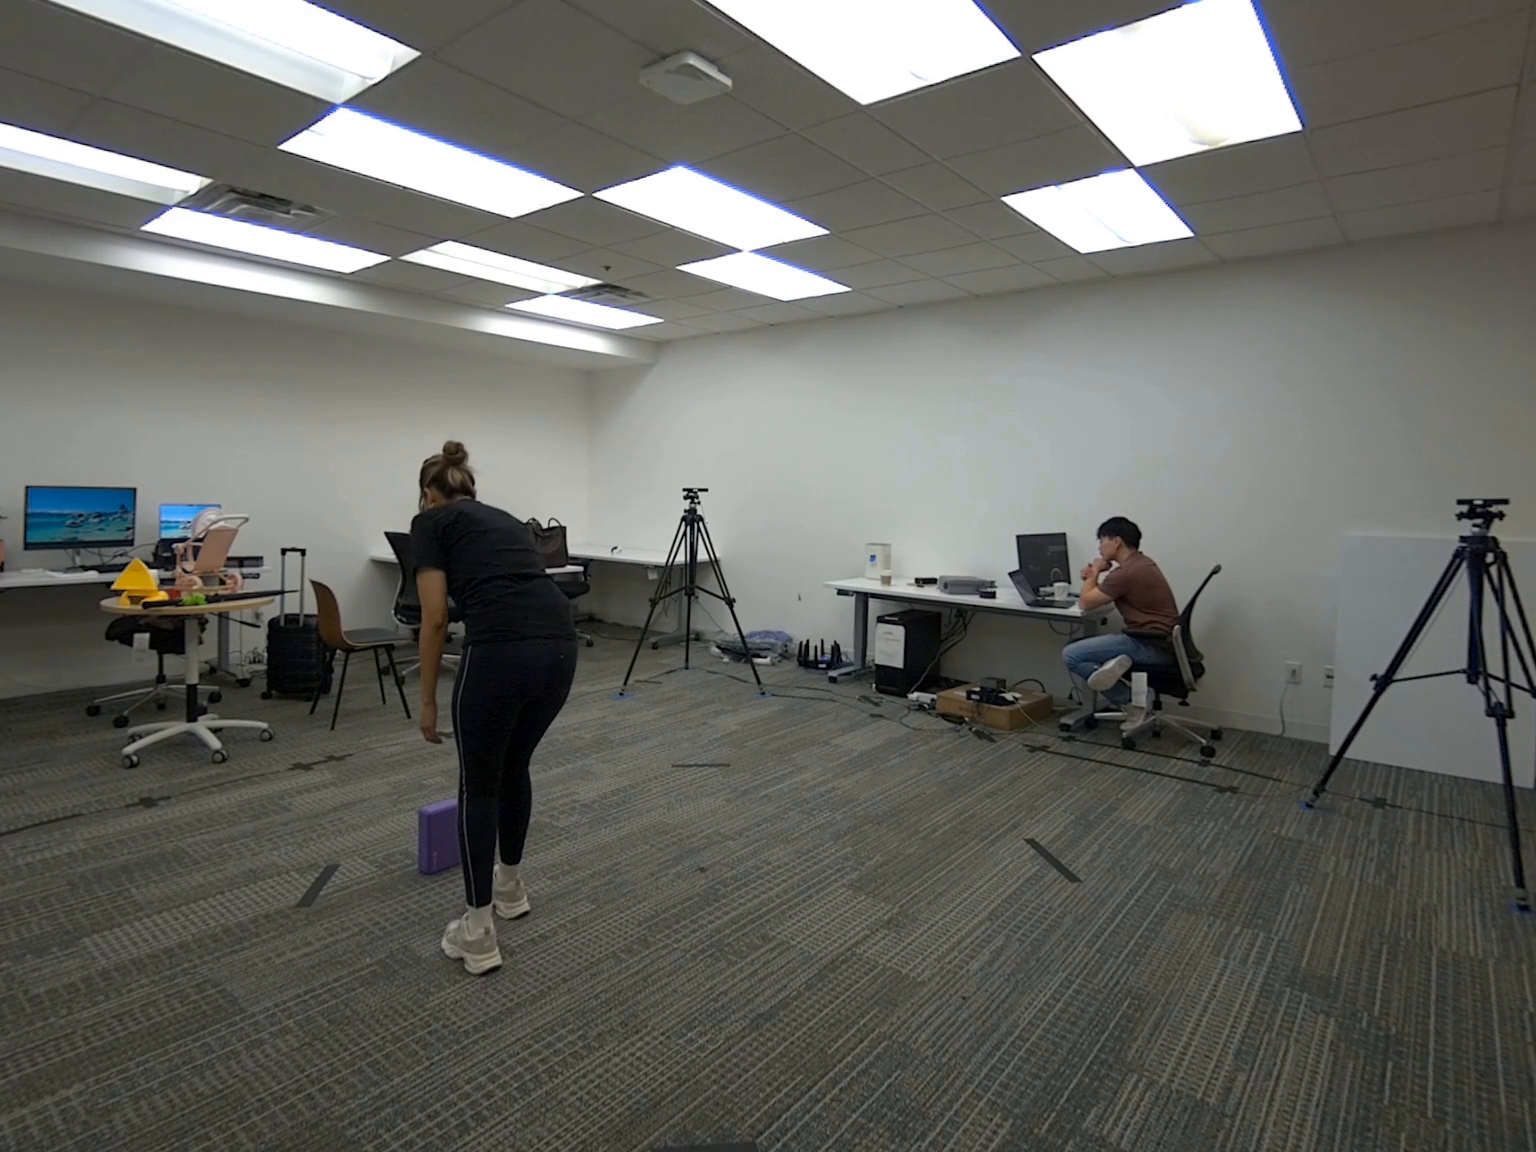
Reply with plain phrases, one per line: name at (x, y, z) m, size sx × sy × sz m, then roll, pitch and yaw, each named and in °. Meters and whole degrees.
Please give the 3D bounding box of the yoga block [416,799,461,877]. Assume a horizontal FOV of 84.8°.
yoga block at (-1.202, 0.942, 3.083) m, size 0.079 × 0.229 × 0.144 m, roll 5°, pitch 4°, yaw 36°
